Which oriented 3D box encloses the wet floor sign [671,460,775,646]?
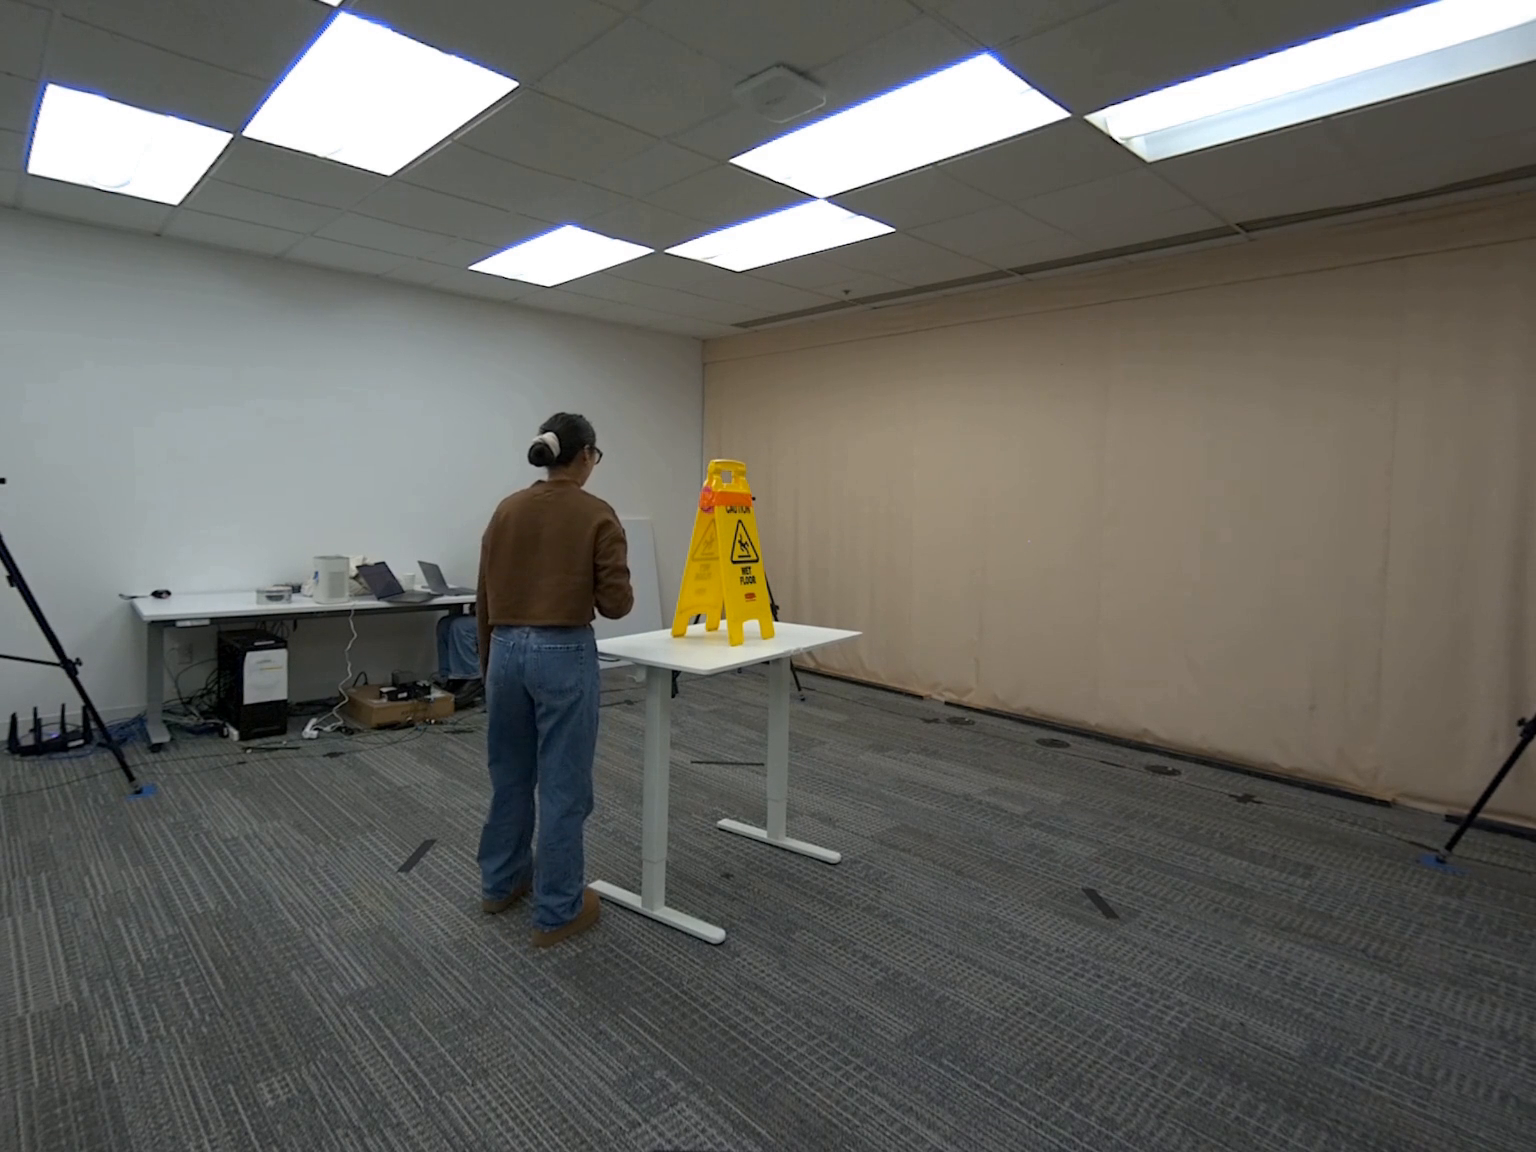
[{"bbox_3d":[-0.160,-0.094,3.073,0.296,0.644,0.276,4,4,34],"label":"wet floor sign"}]
